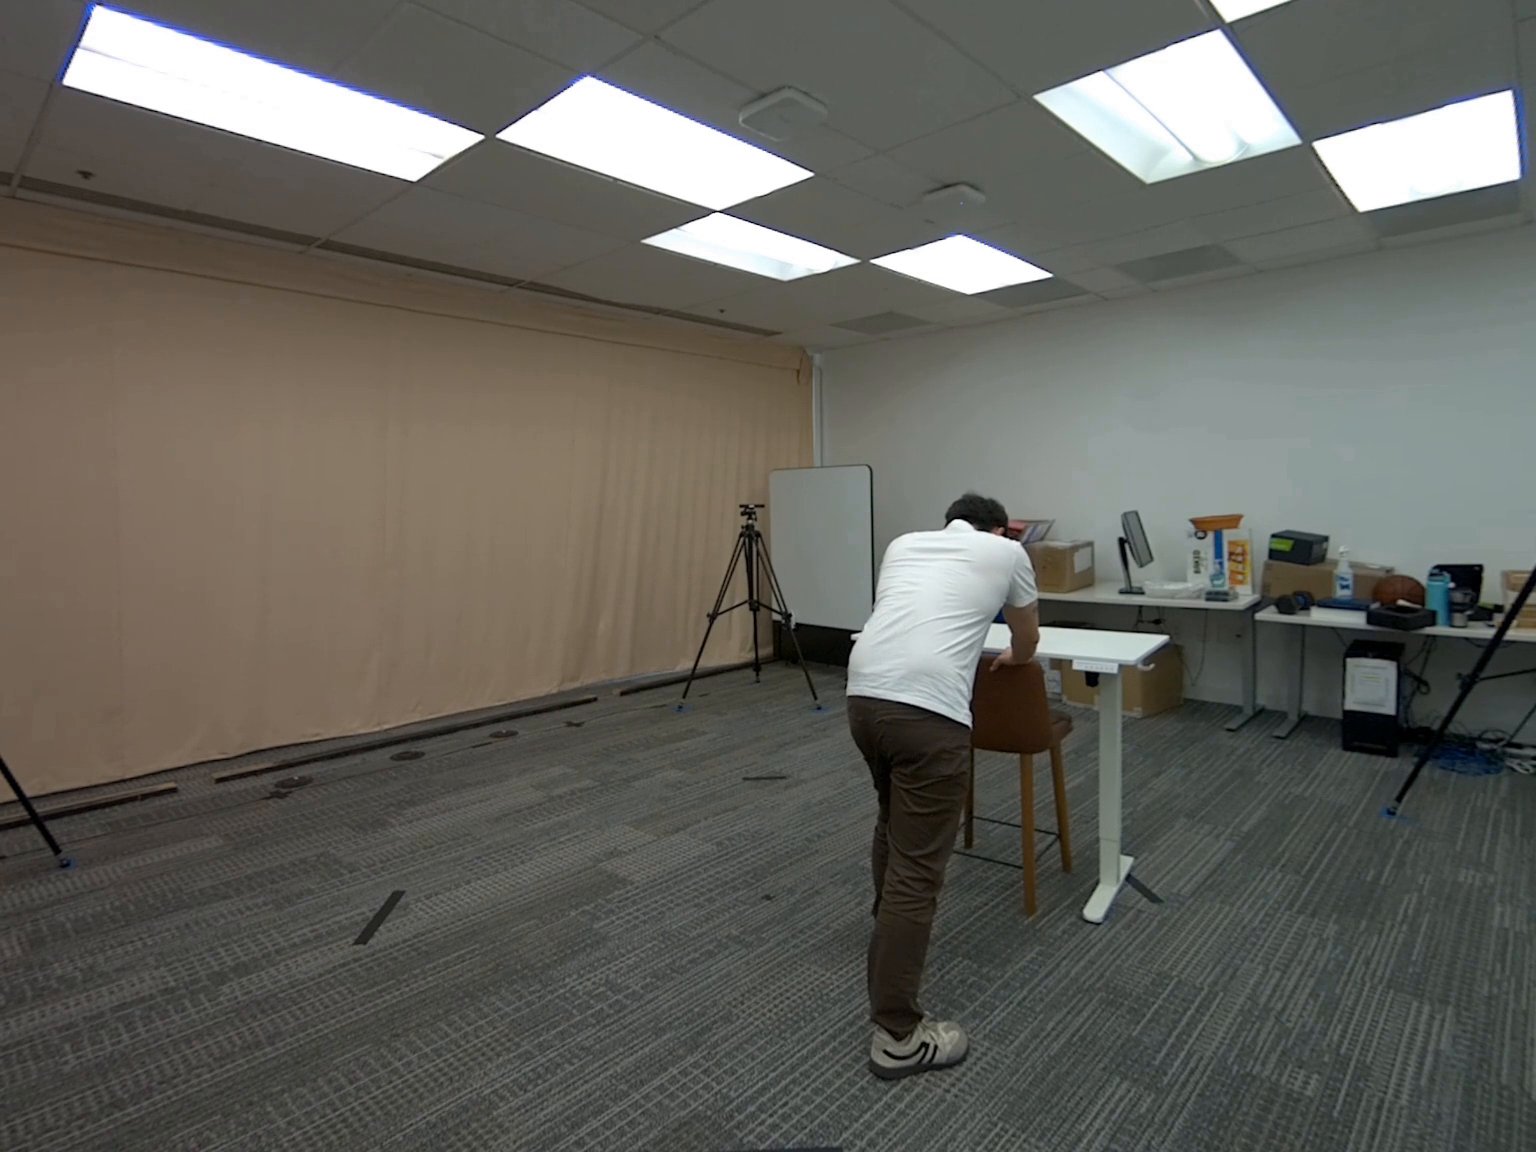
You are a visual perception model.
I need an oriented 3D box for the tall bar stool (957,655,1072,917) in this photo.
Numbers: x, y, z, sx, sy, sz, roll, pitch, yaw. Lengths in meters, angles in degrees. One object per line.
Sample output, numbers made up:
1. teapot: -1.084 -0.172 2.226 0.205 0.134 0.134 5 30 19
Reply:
1. tall bar stool: 0.842 0.682 3.067 0.471 0.887 0.454 2 5 35
